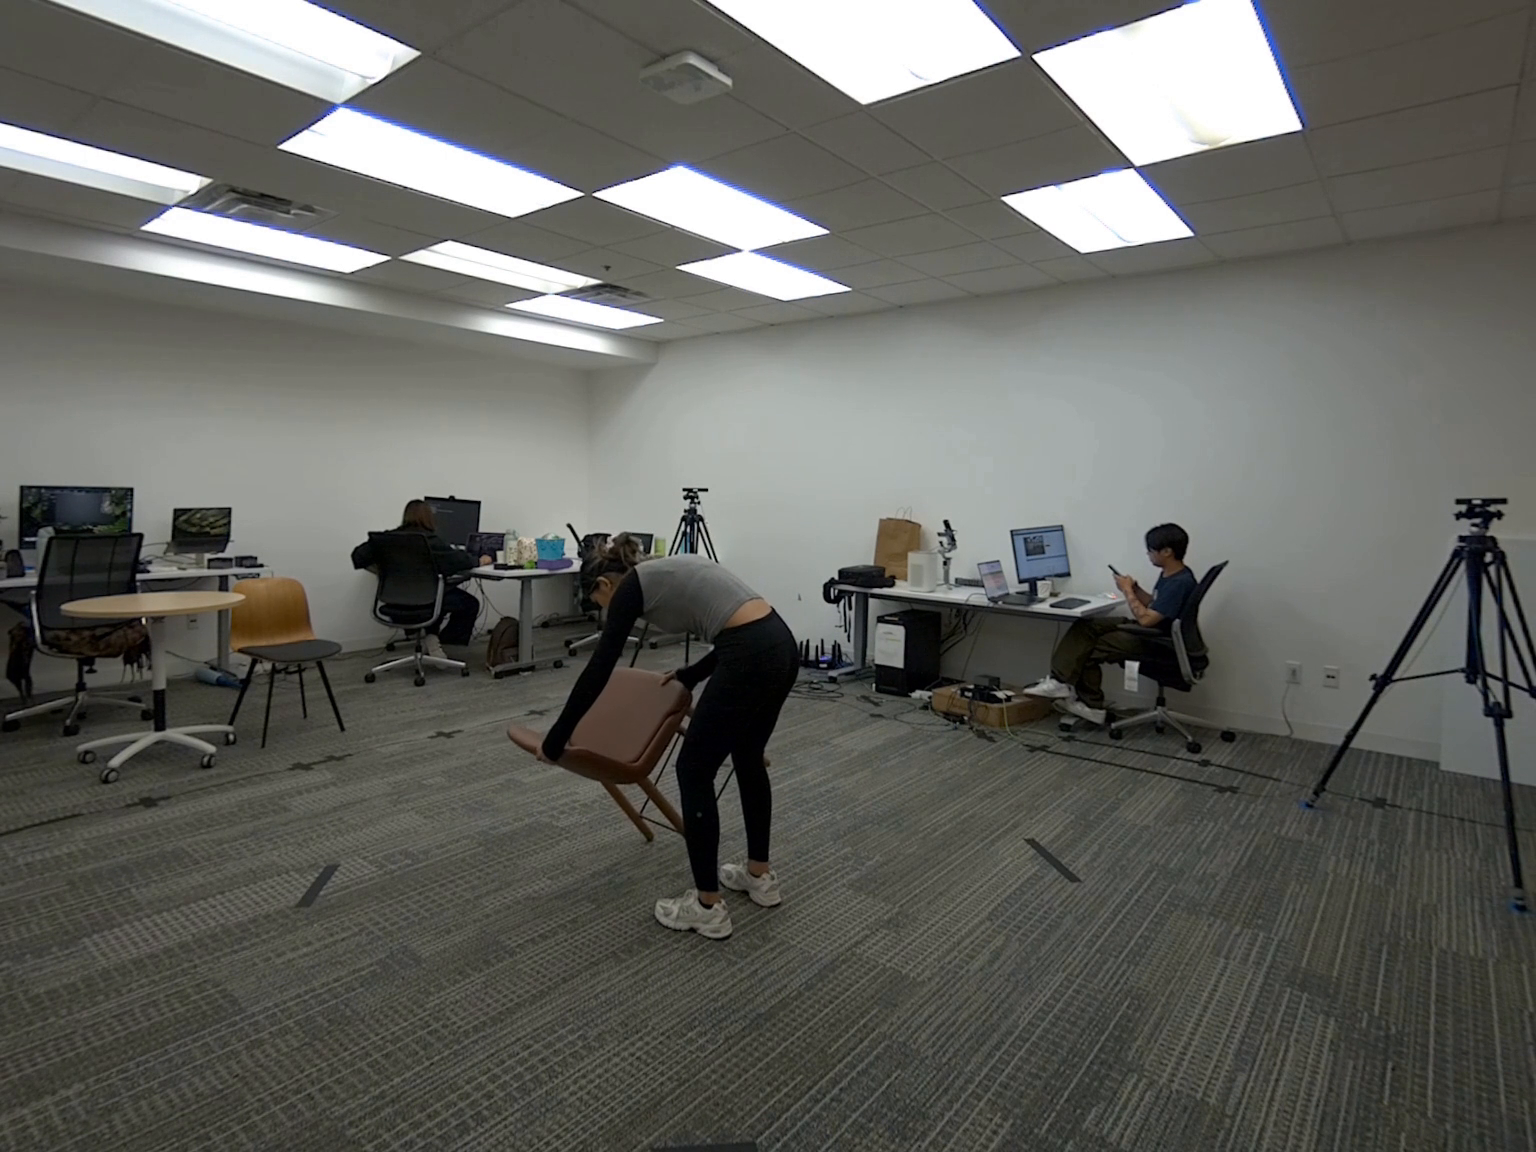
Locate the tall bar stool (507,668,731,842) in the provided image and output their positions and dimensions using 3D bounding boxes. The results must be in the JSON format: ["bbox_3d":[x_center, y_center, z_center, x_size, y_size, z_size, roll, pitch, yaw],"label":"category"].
[{"bbox_3d":[-0.466,0.624,3.089,0.472,0.471,0.854,4,-35,42],"label":"tall bar stool"}]
